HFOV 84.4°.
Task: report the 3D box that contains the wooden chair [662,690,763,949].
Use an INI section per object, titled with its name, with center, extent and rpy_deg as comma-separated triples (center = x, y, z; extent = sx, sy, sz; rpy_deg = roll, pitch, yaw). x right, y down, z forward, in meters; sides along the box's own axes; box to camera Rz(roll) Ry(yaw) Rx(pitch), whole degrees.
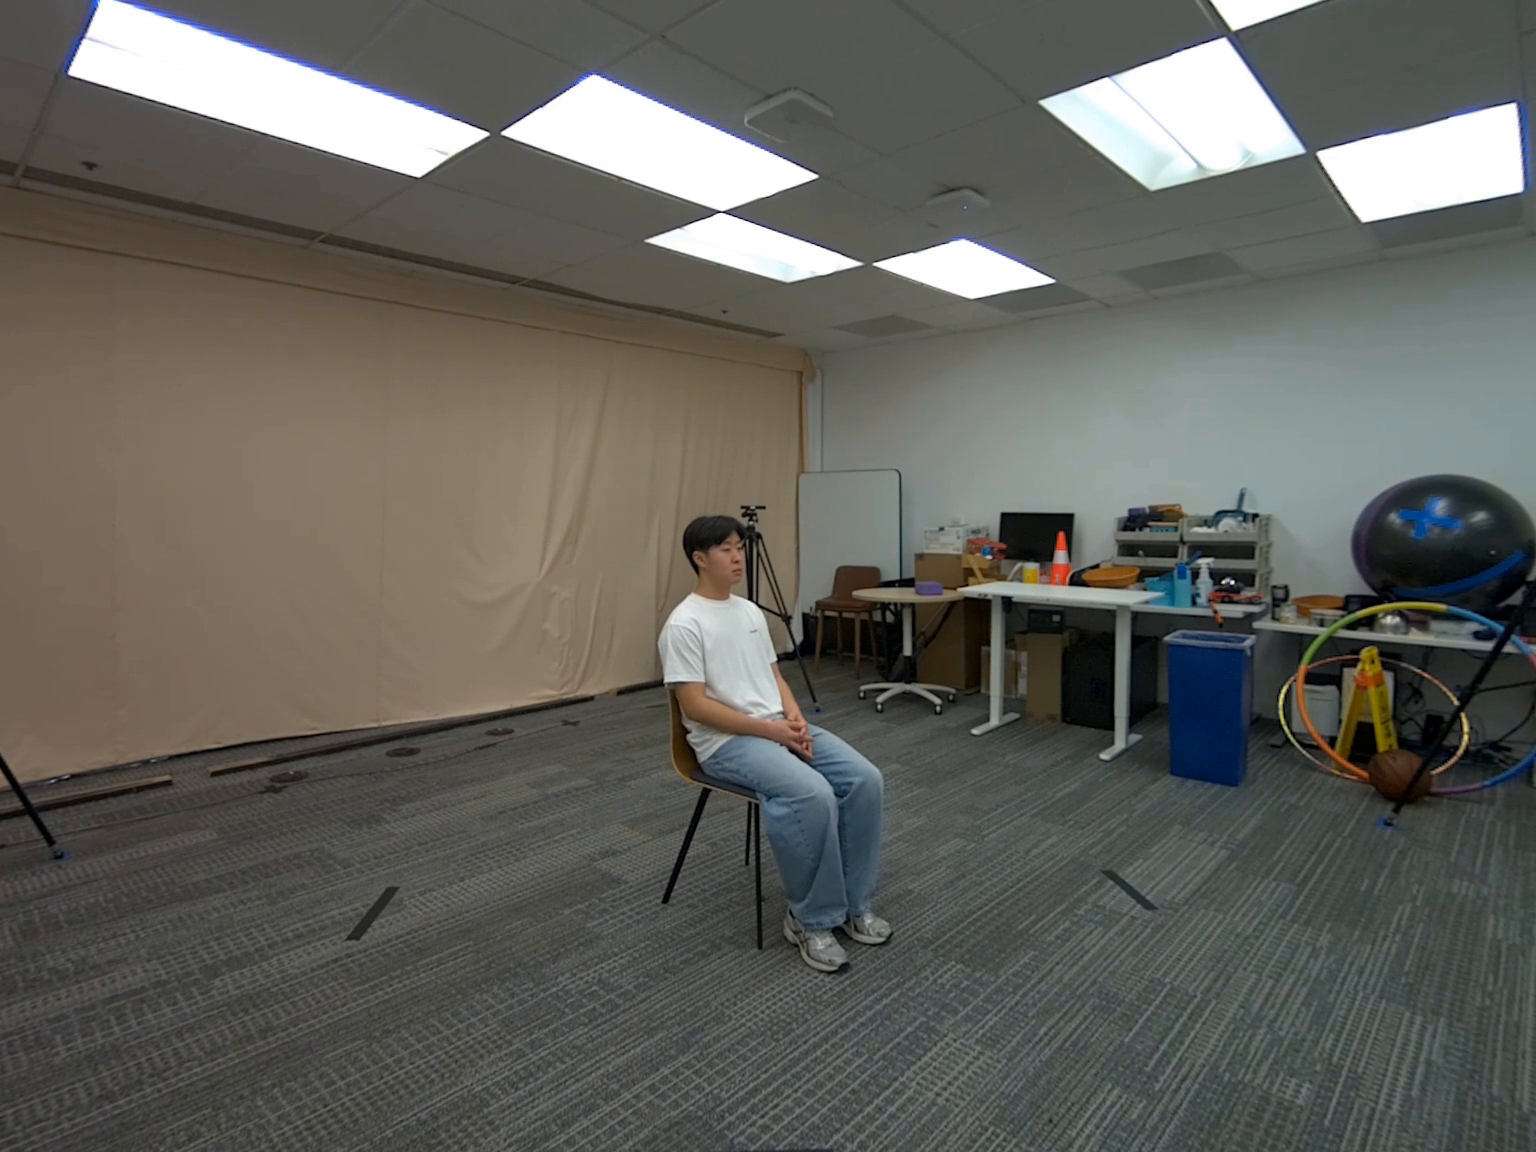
[wooden chair]
center = -0.053, 0.722, 2.930
extent = 0.539, 0.877, 0.463
rpy_deg = -4, 0, 42
